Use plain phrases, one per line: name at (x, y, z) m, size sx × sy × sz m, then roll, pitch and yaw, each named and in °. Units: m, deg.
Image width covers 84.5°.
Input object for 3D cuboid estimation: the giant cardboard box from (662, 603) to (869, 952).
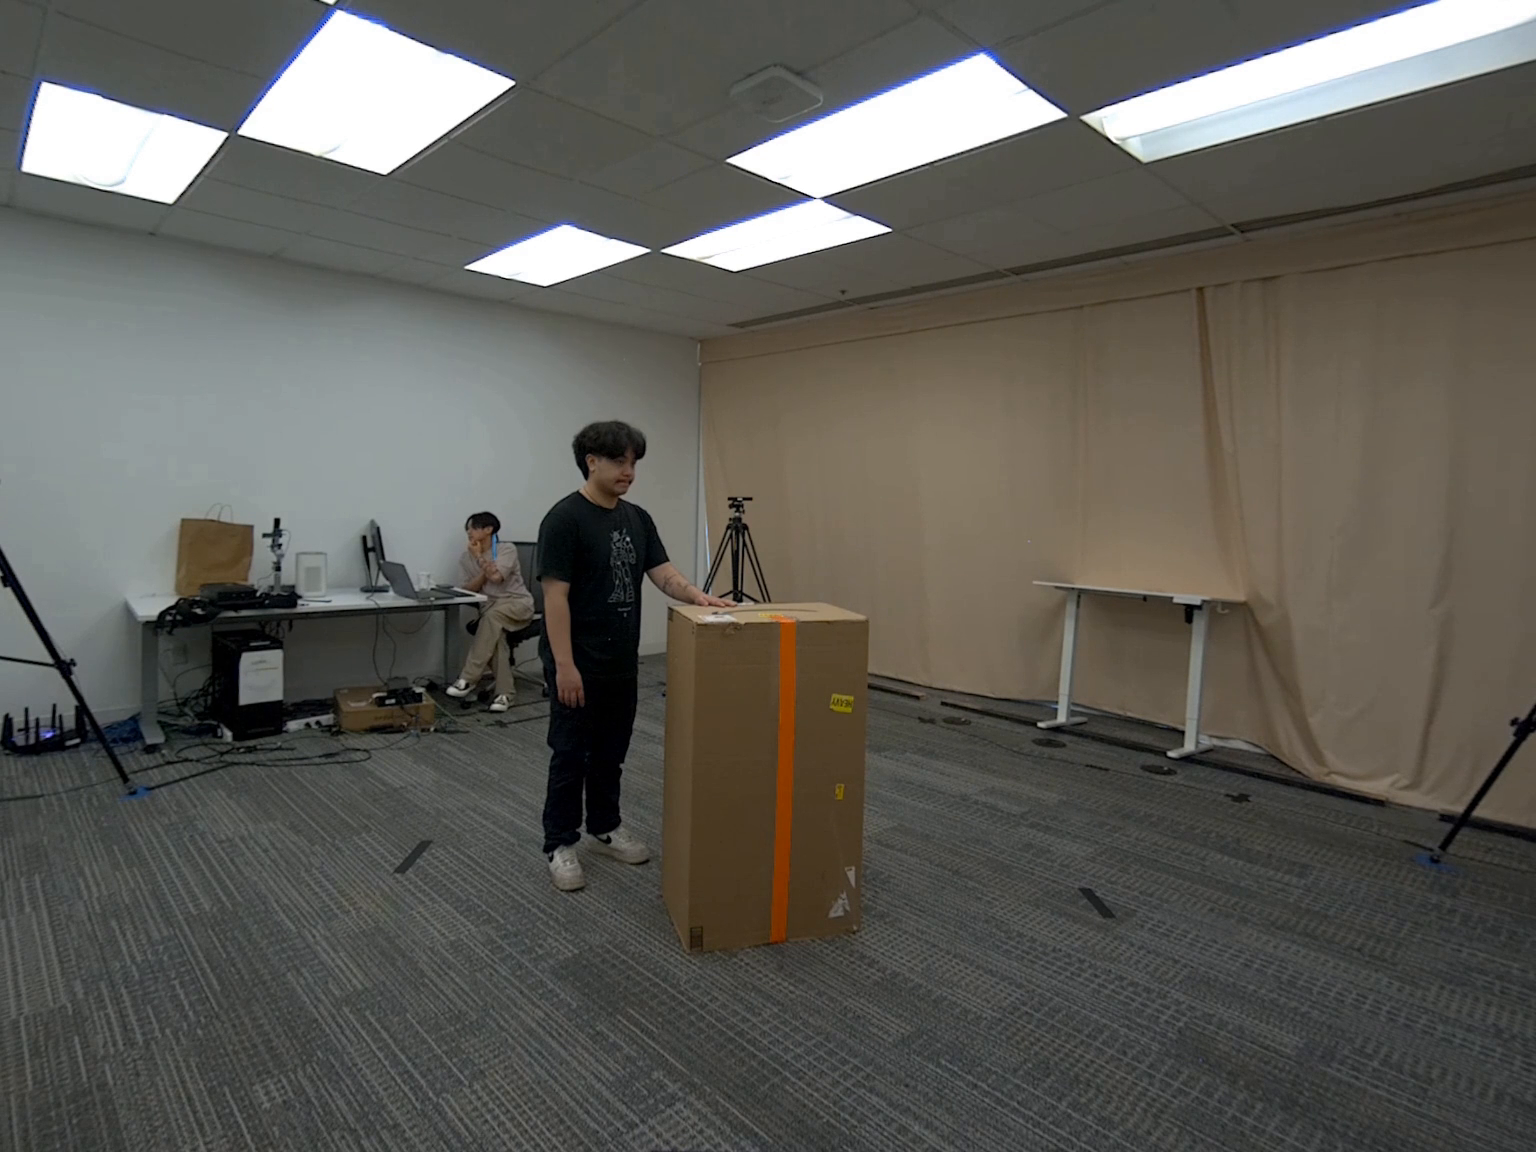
giant cardboard box at (-0.030, 0.625, 2.813) m, size 0.576 × 1.024 × 0.454 m, roll 0°, pitch 4°, yaw -17°
